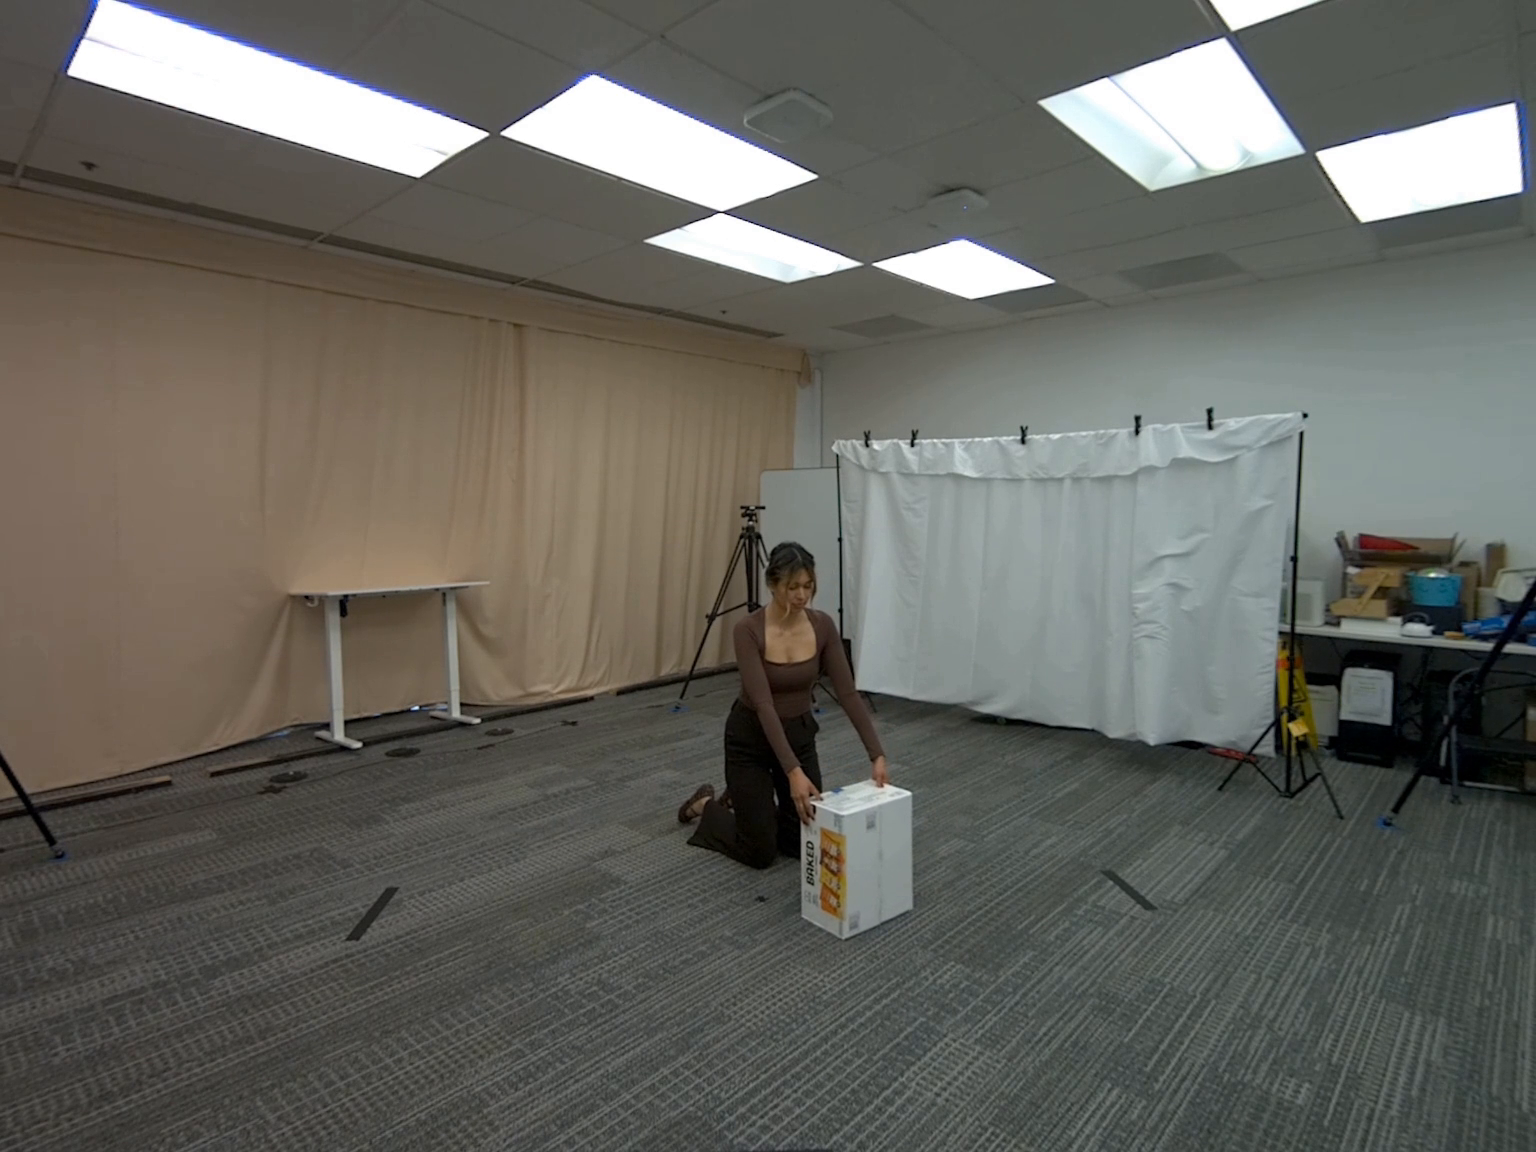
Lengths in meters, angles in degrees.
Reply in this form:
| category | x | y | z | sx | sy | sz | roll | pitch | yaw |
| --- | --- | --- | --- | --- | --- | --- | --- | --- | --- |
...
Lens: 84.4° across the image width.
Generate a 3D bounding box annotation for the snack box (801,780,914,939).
| category | x | y | z | sx | sy | sz | roll | pitch | yaw |
| --- | --- | --- | --- | --- | --- | --- | --- | --- | --- |
| snack box | 0.309 | 0.948 | 2.870 | 0.330 | 0.404 | 0.212 | -3 | 3 | -39 |
